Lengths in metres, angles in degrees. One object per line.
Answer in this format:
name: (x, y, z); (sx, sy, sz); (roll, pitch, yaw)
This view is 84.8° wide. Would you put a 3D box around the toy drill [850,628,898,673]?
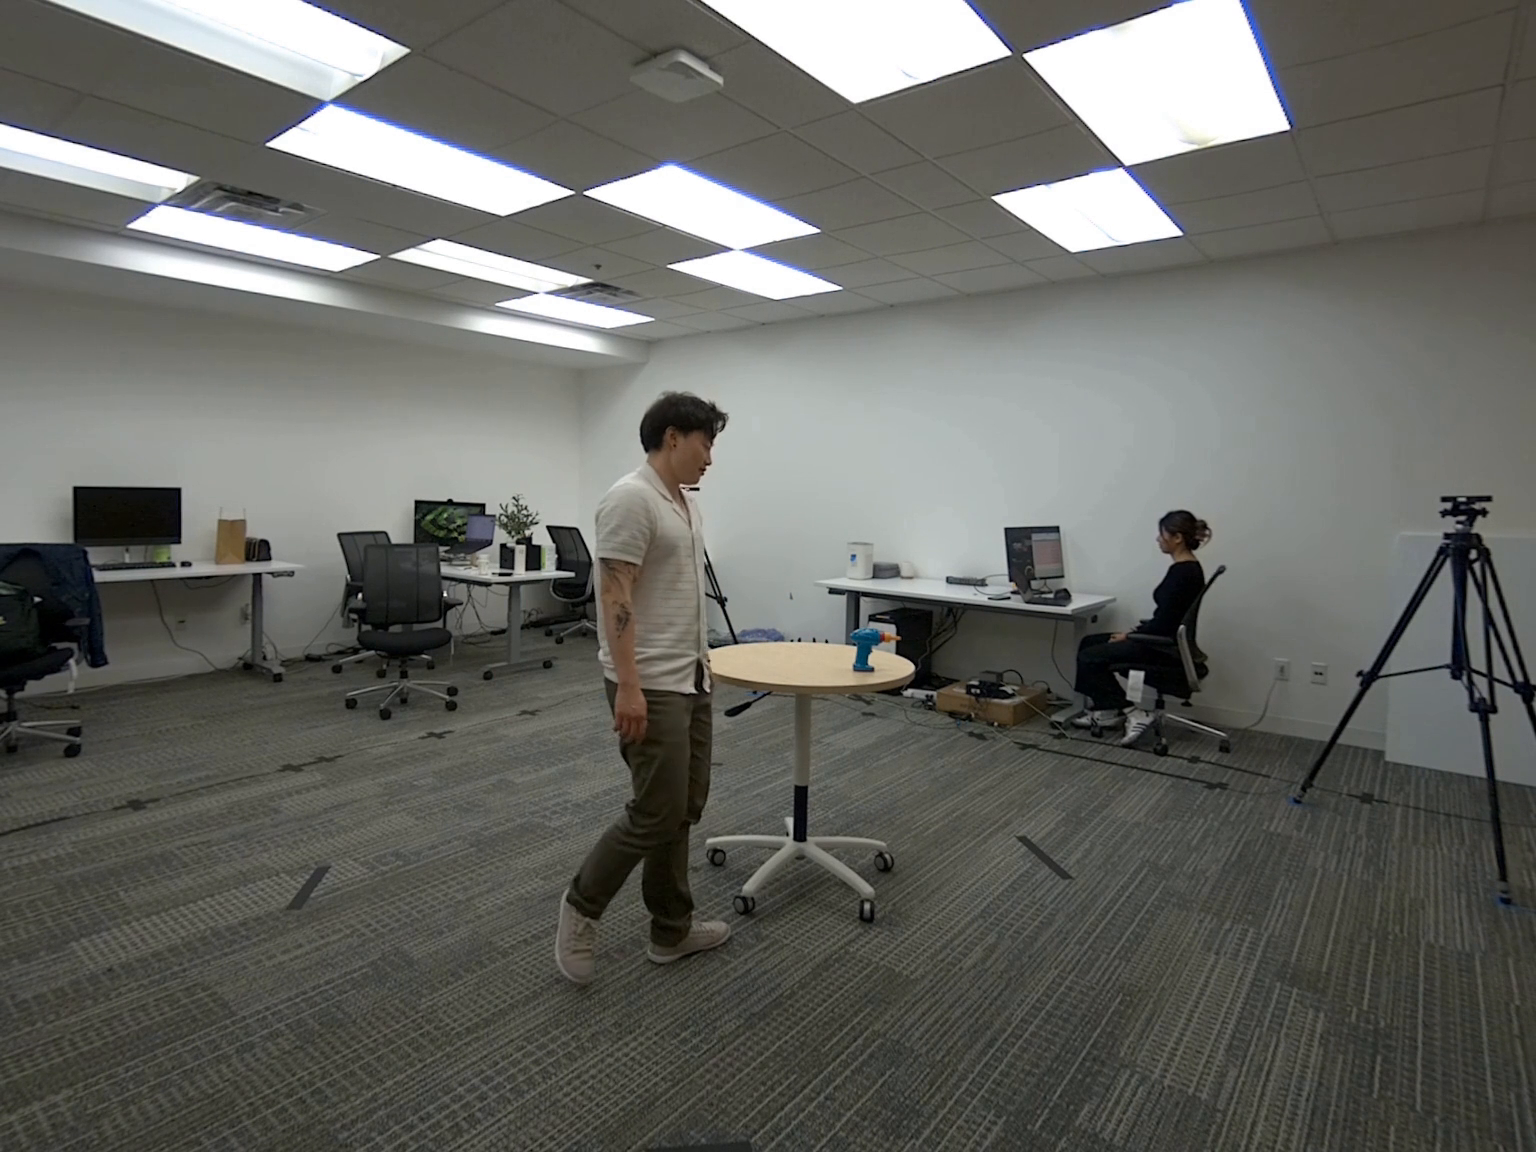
toy drill: (0.352, 0.243, 2.869); (0.169, 0.146, 0.061); (1, 2, -3)
